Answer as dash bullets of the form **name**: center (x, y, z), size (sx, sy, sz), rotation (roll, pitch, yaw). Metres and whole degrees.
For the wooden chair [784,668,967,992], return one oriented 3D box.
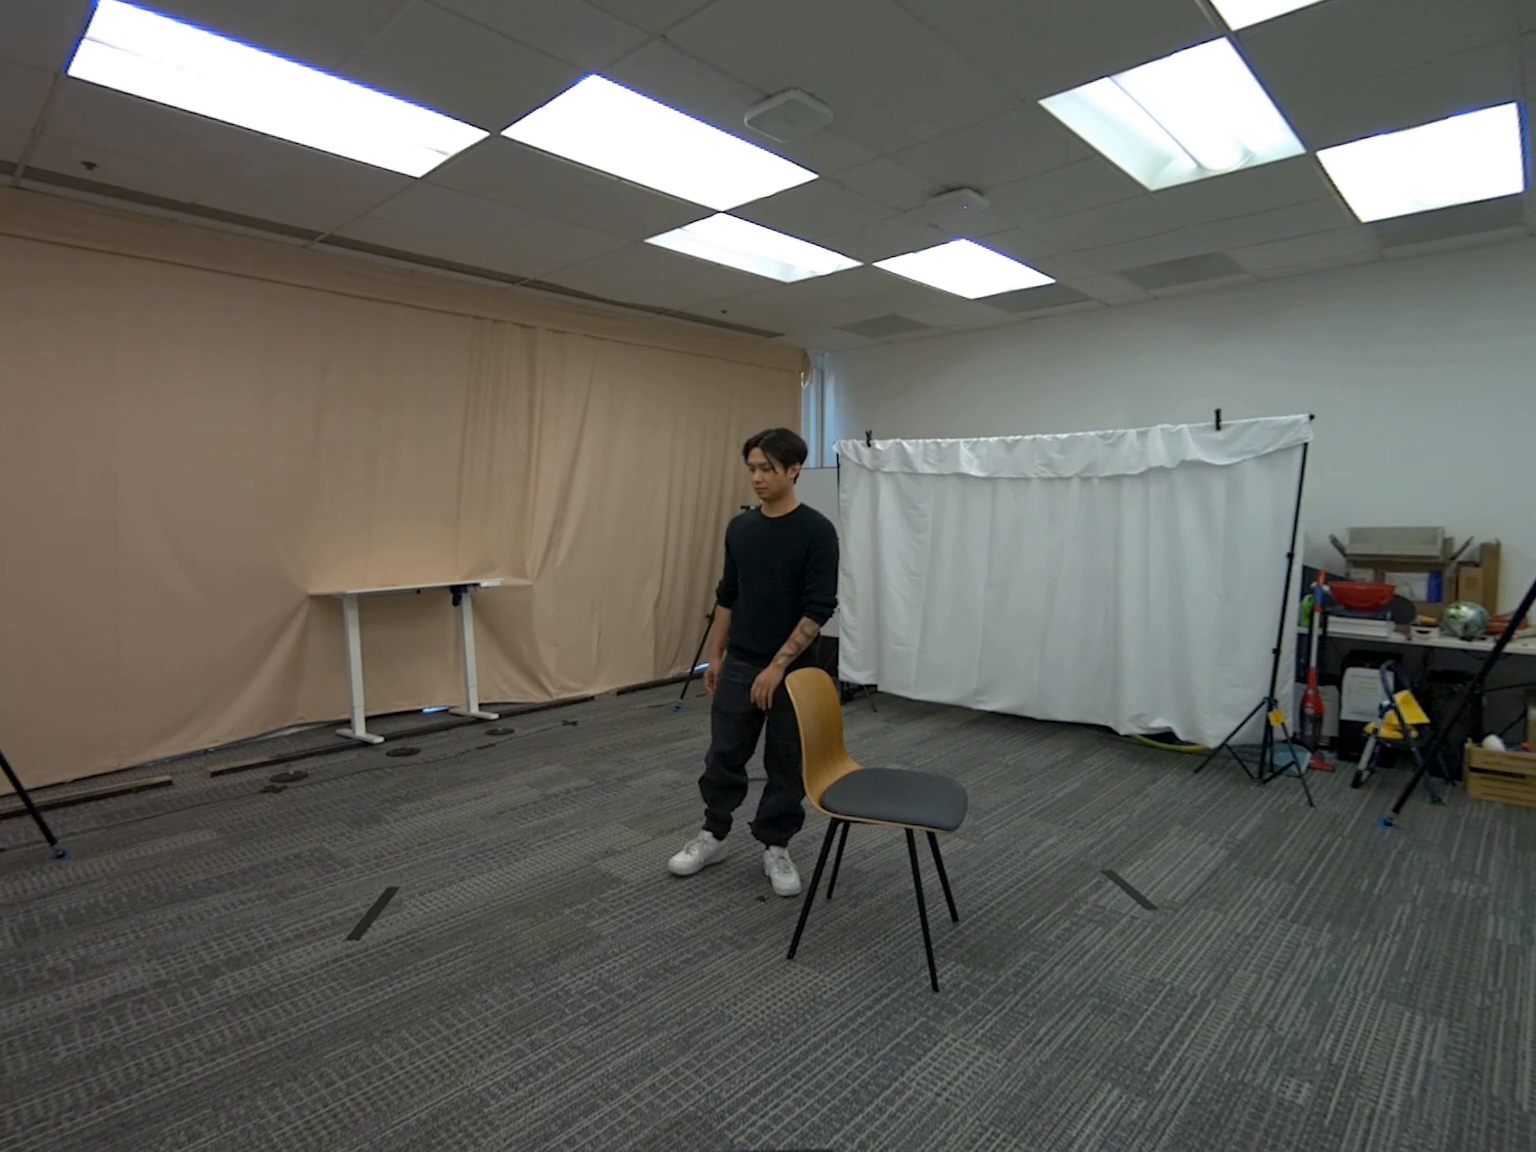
- **wooden chair**: center (0.364, 0.742, 2.670), size (0.535, 0.877, 0.468), rotation (-4, 1, 22)
